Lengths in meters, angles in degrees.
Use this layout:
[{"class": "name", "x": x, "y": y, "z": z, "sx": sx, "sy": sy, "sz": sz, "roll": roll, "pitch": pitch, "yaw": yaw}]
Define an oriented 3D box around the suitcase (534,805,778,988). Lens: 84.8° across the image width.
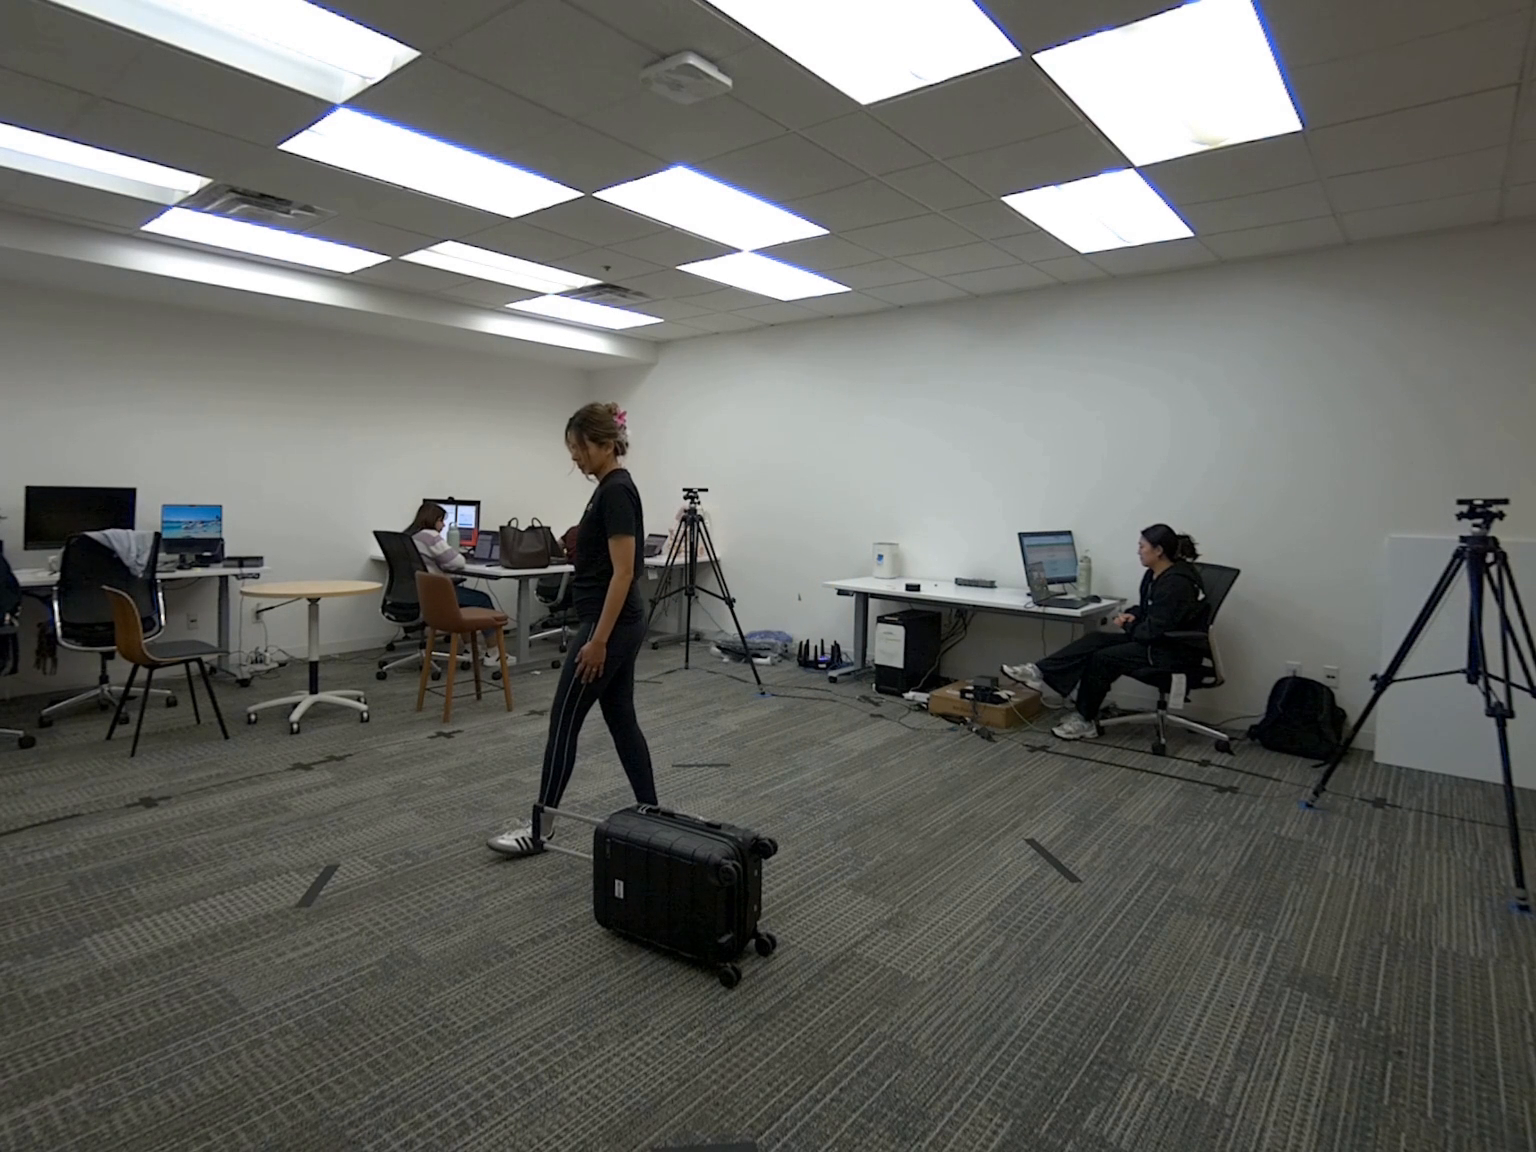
[{"class": "suitcase", "x": -0.457, "y": 0.919, "z": 2.697, "sx": 1.008, "sy": 0.383, "sz": 0.250, "roll": 4, "pitch": 5, "yaw": 30}]
